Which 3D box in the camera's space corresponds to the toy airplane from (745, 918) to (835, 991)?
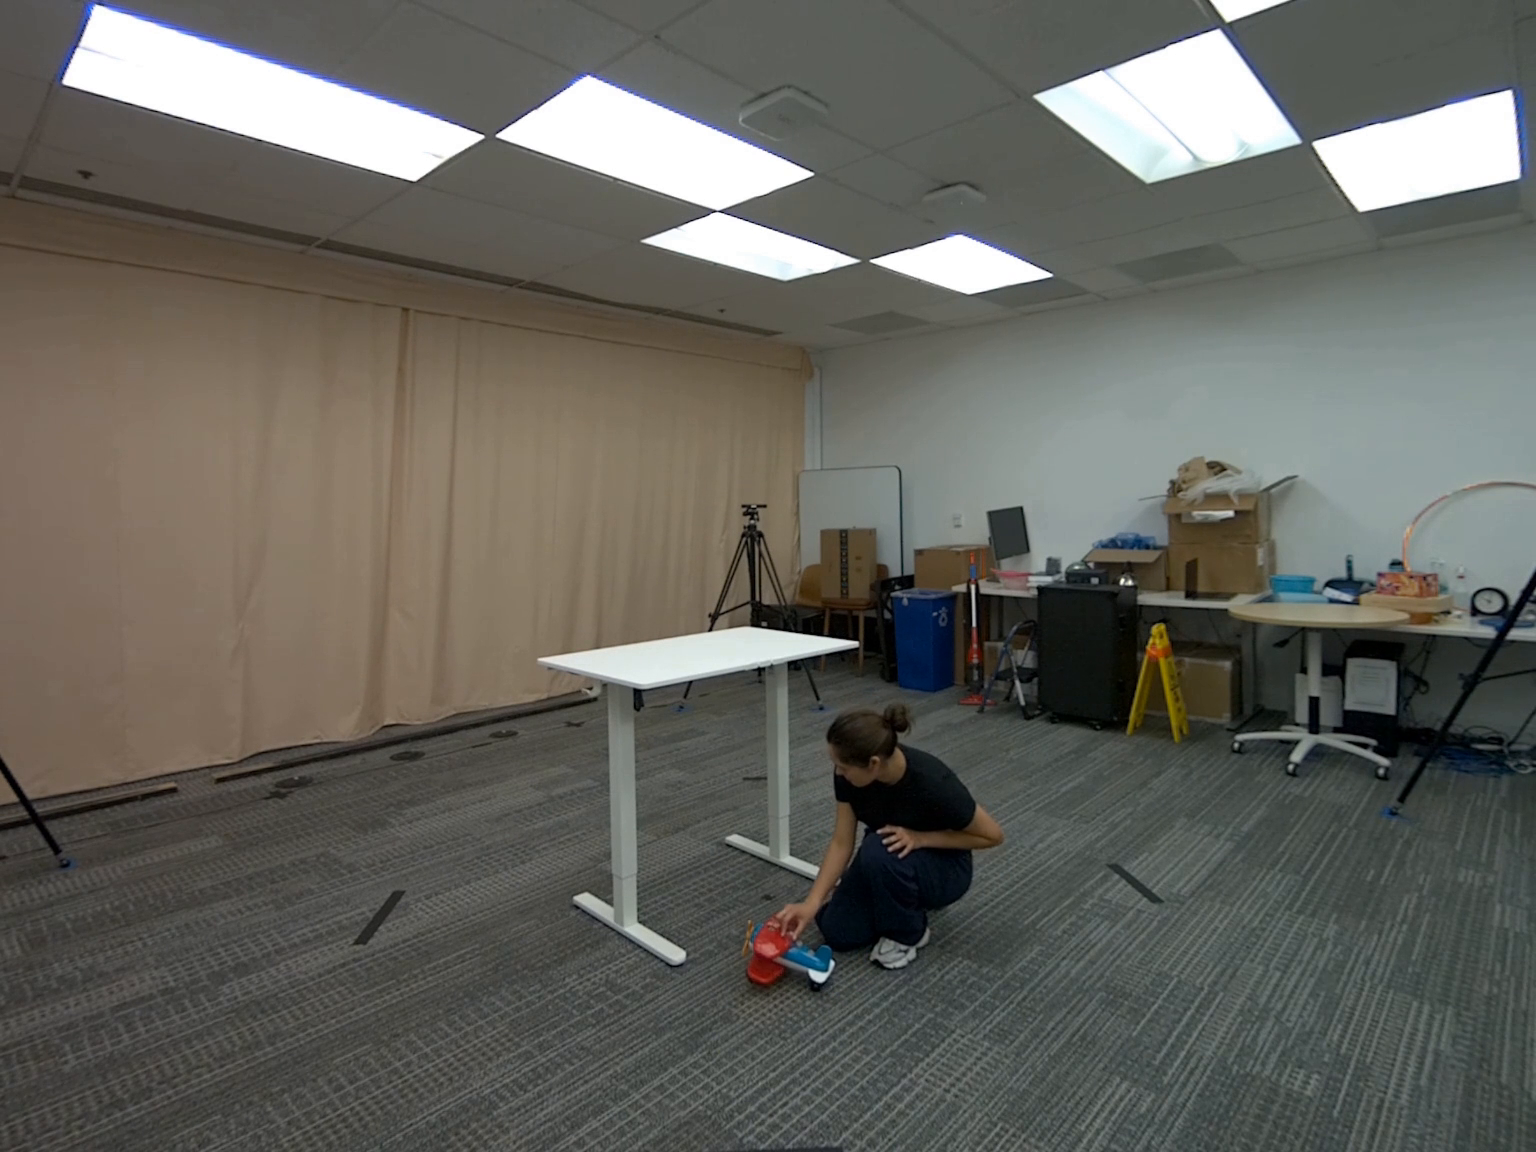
[{"bbox_3d":[0.087,1.117,2.476,0.258,0.156,0.252,0,2,-5],"label":"toy airplane"}]
